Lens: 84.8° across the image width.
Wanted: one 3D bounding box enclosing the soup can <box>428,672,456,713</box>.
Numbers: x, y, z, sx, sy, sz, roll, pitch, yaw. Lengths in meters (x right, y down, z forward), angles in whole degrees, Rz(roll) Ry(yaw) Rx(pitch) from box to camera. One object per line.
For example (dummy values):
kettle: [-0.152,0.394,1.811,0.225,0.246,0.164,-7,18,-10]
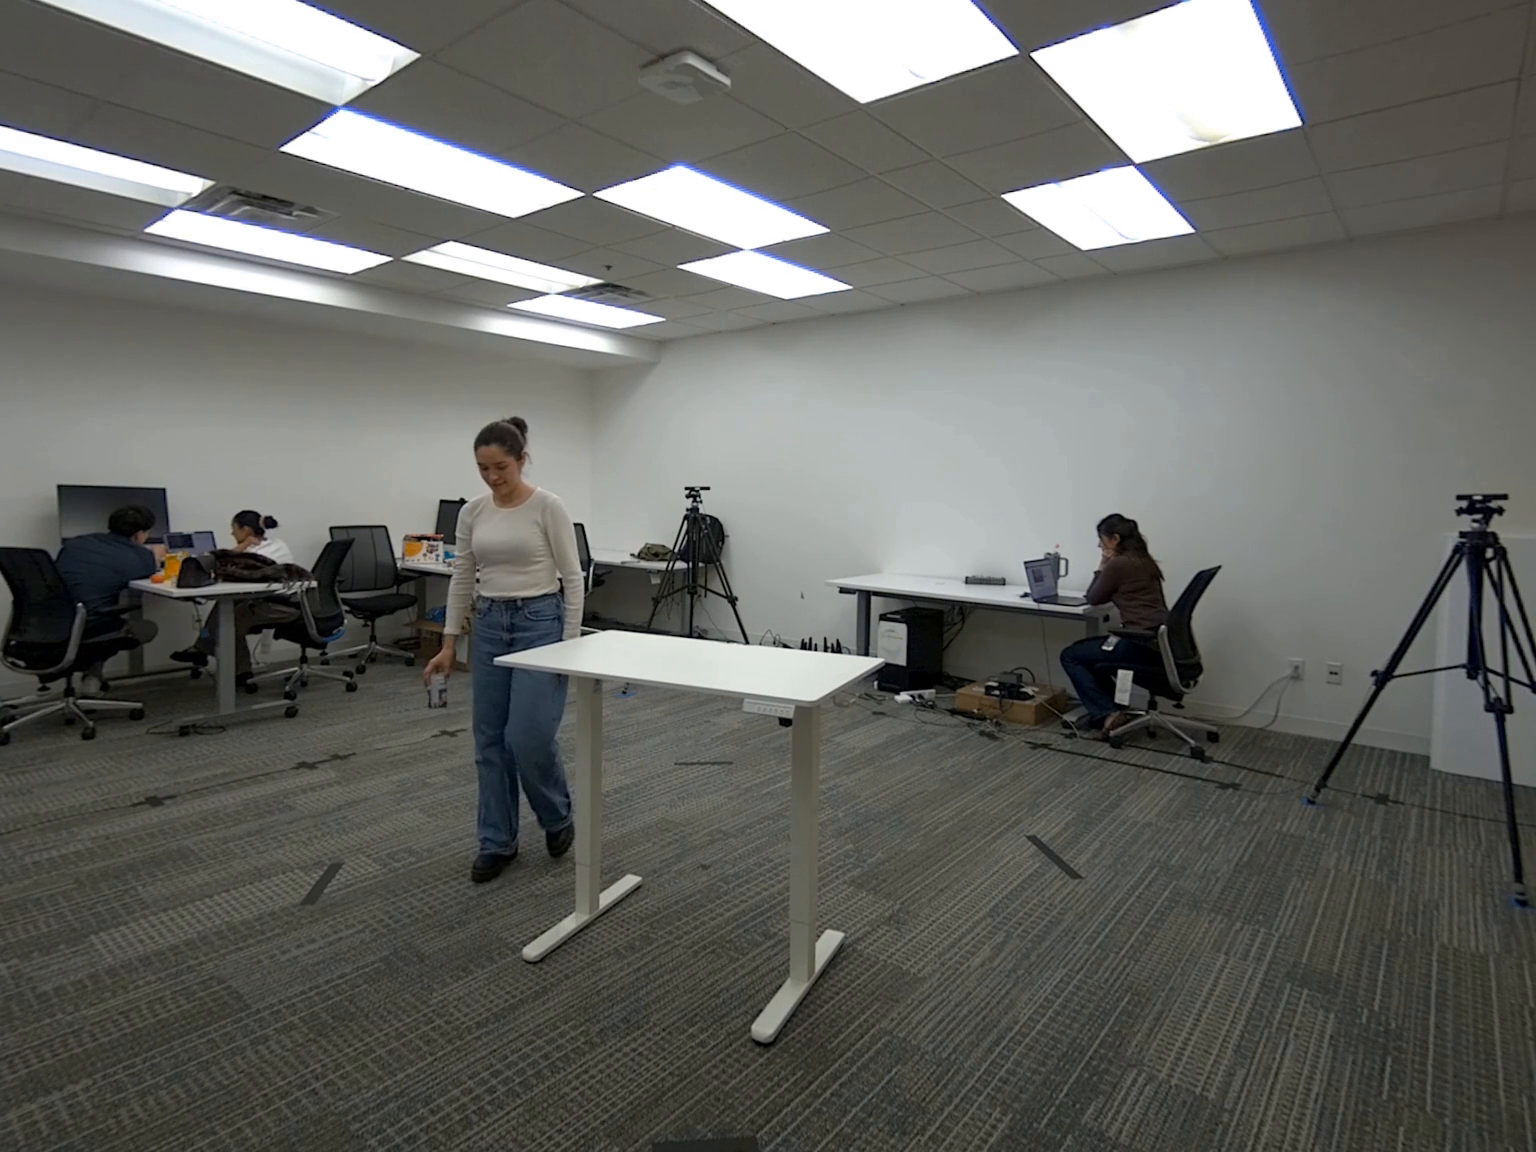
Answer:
soup can: [-1.162,0.413,2.993,0.067,0.121,0.068,-3,7,-1]
